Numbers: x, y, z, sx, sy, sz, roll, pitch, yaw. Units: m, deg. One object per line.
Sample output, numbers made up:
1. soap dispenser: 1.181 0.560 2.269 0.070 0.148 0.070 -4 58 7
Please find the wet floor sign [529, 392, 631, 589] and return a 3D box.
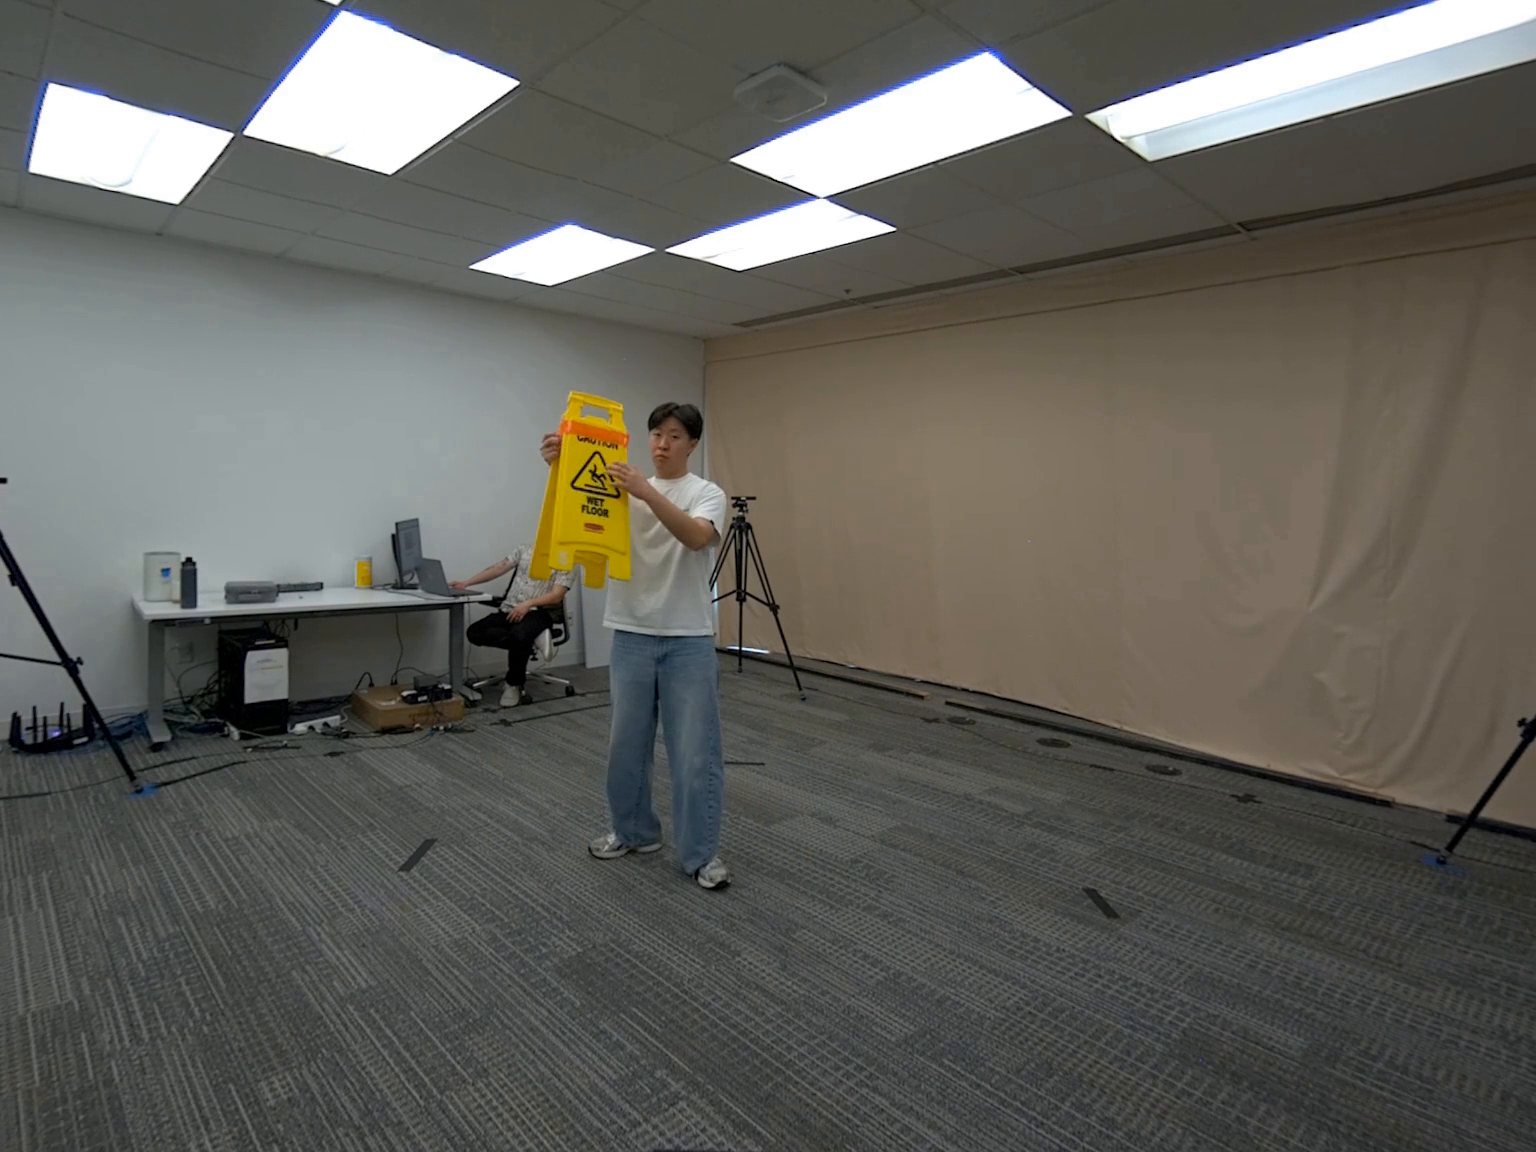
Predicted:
1. wet floor sign: -0.624 -0.306 2.875 0.276 0.652 0.294 11 -16 -30
